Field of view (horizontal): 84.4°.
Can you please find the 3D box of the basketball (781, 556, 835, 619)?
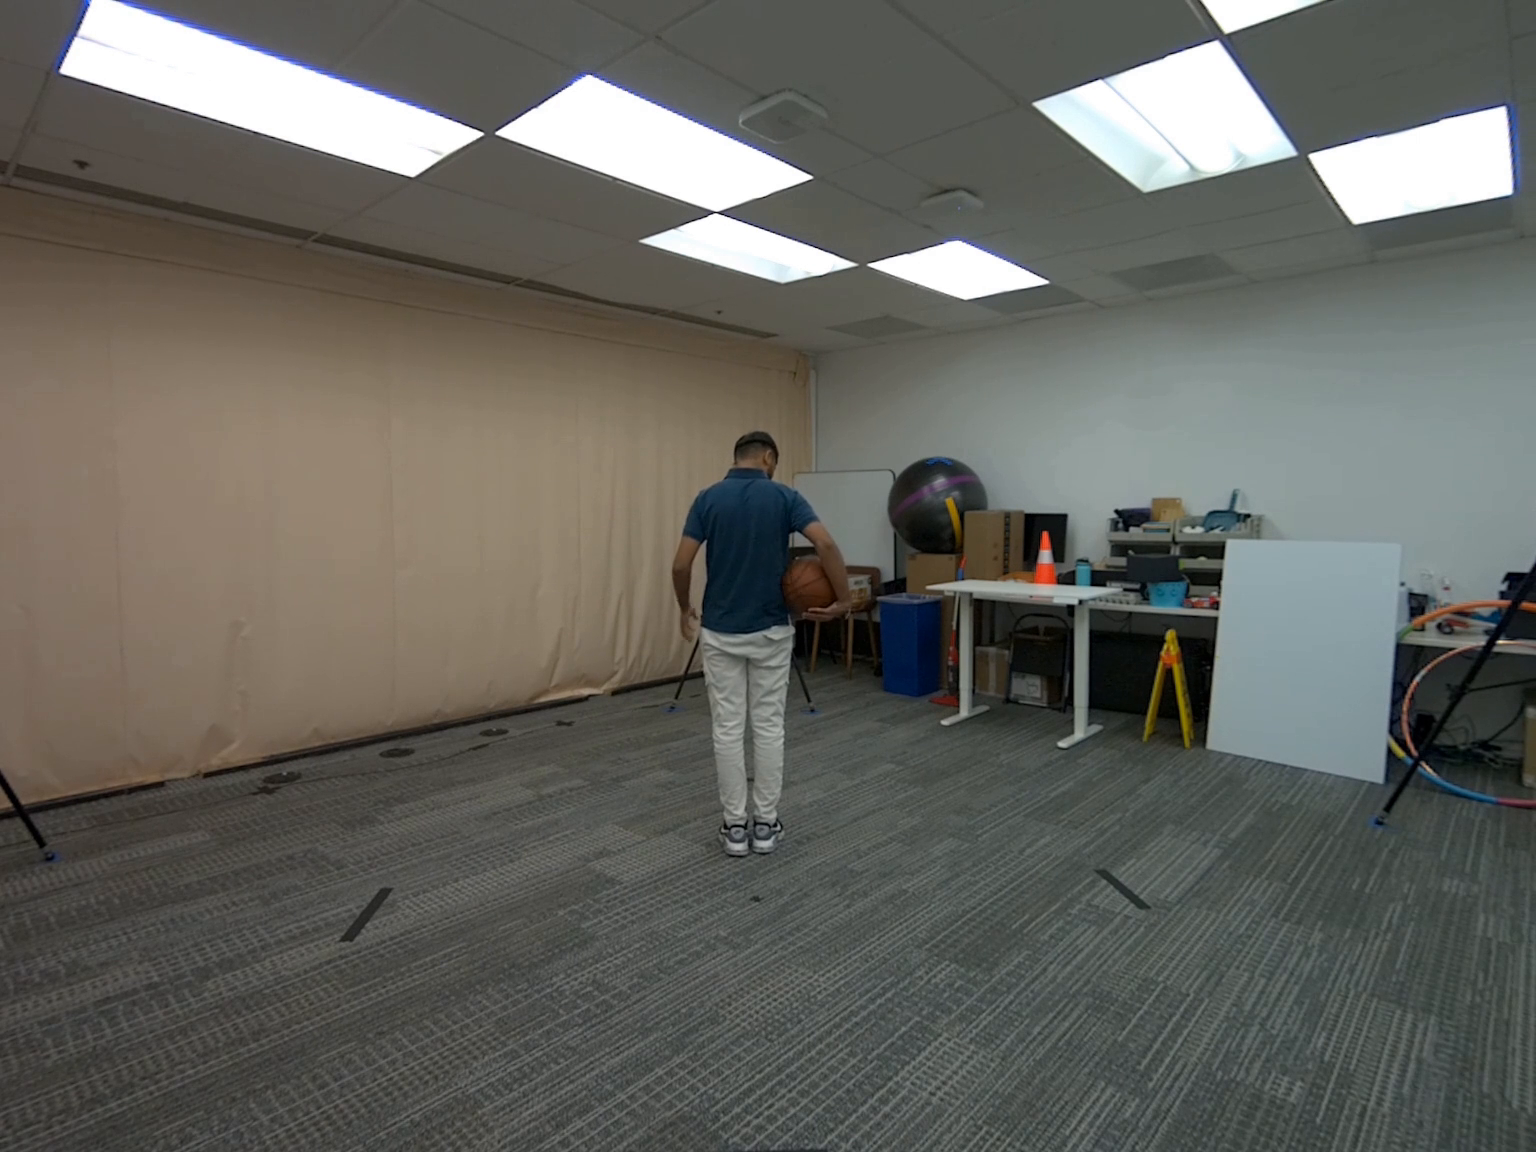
[{"bbox_3d":[0.177,0.032,3.351,0.236,0.235,0.237,0,4,-2],"label":"basketball"}]
